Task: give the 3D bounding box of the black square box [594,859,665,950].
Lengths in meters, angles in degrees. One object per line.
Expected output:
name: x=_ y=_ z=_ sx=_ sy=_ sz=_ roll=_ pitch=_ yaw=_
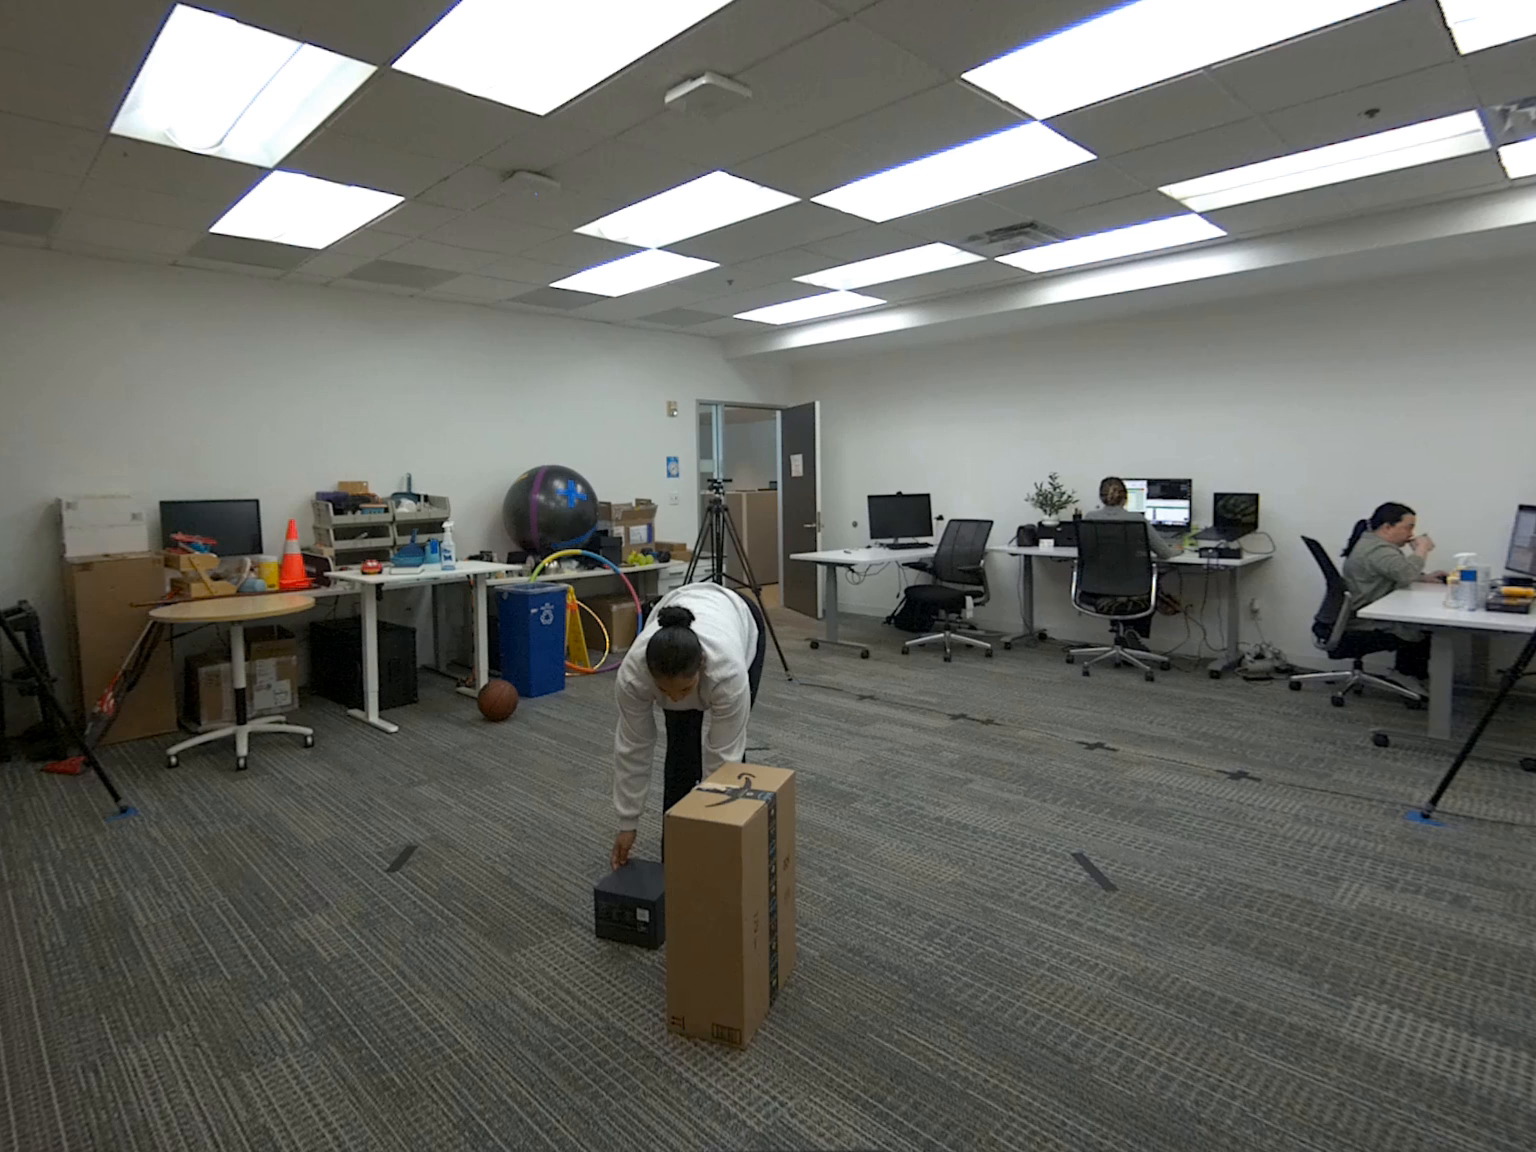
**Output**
black square box: x=-0.393 y=1.011 z=2.679 sx=0.221 sy=0.155 sz=0.225 roll=3 pitch=9 yaw=21
